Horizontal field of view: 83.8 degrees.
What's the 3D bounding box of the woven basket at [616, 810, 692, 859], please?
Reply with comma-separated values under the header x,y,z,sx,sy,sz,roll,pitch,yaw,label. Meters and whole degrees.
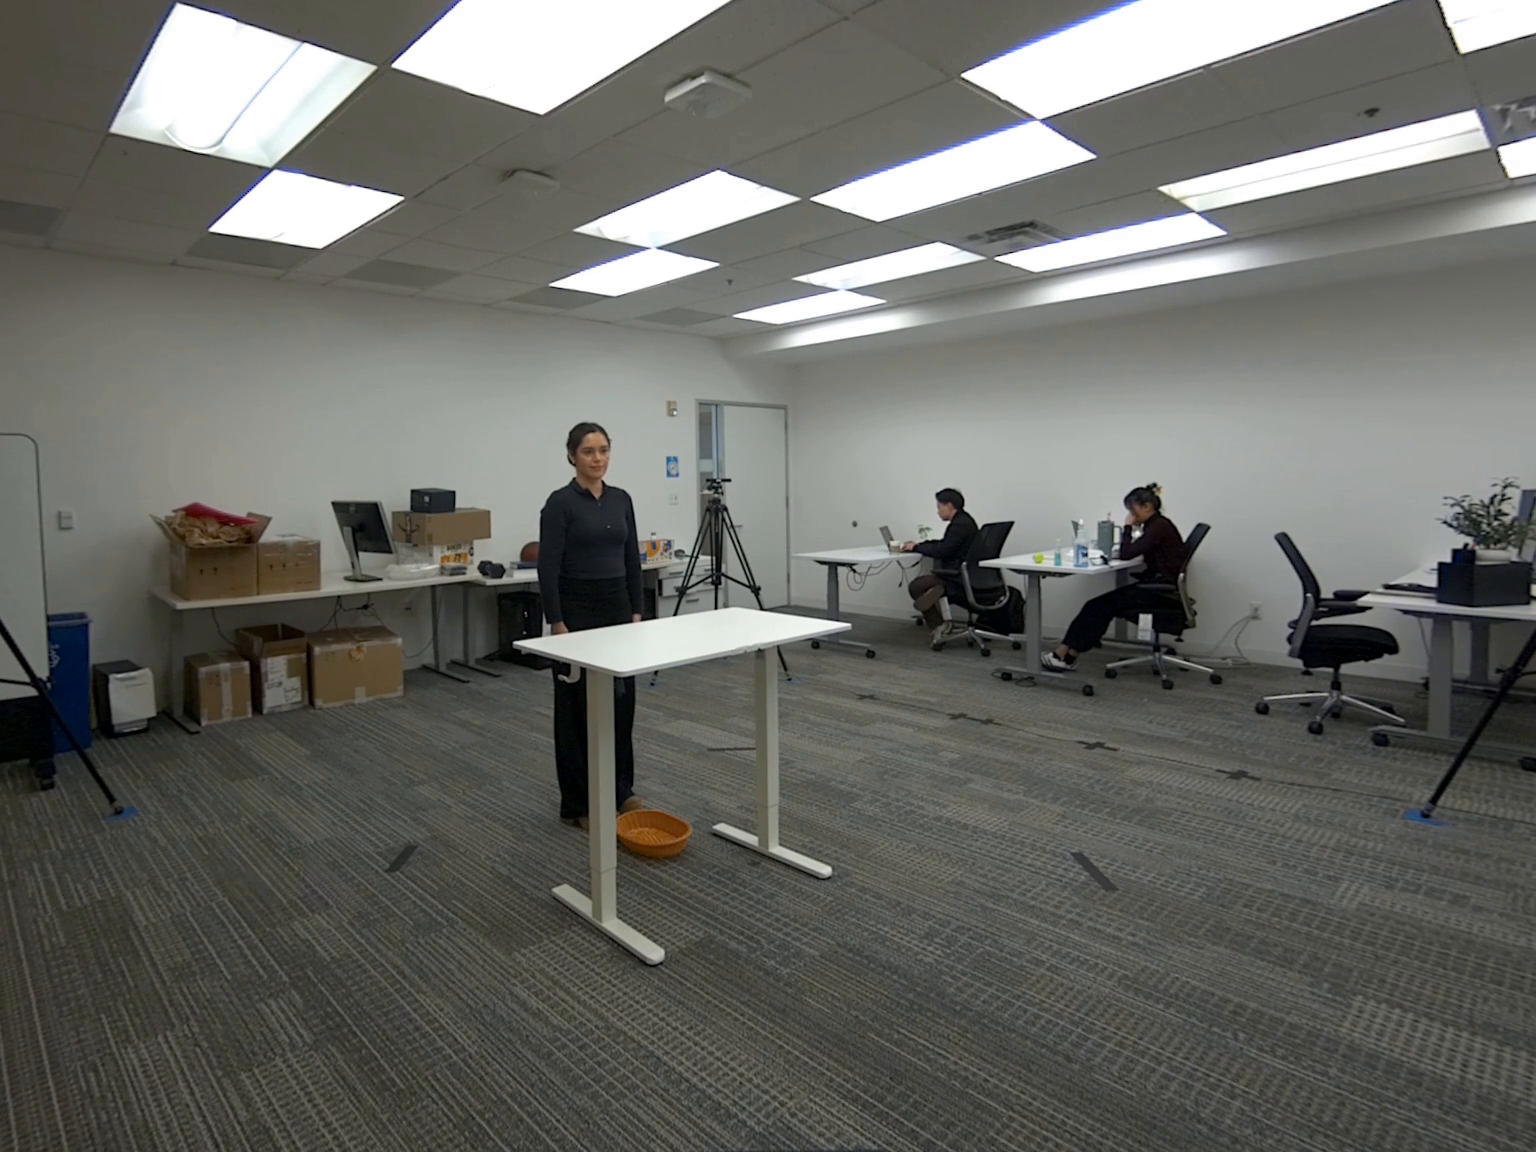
x,y,z,sx,sy,sz,roll,pitch,yaw,label
-0.442,0.994,3.276,0.246,0.073,0.361,-8,9,-42,woven basket
